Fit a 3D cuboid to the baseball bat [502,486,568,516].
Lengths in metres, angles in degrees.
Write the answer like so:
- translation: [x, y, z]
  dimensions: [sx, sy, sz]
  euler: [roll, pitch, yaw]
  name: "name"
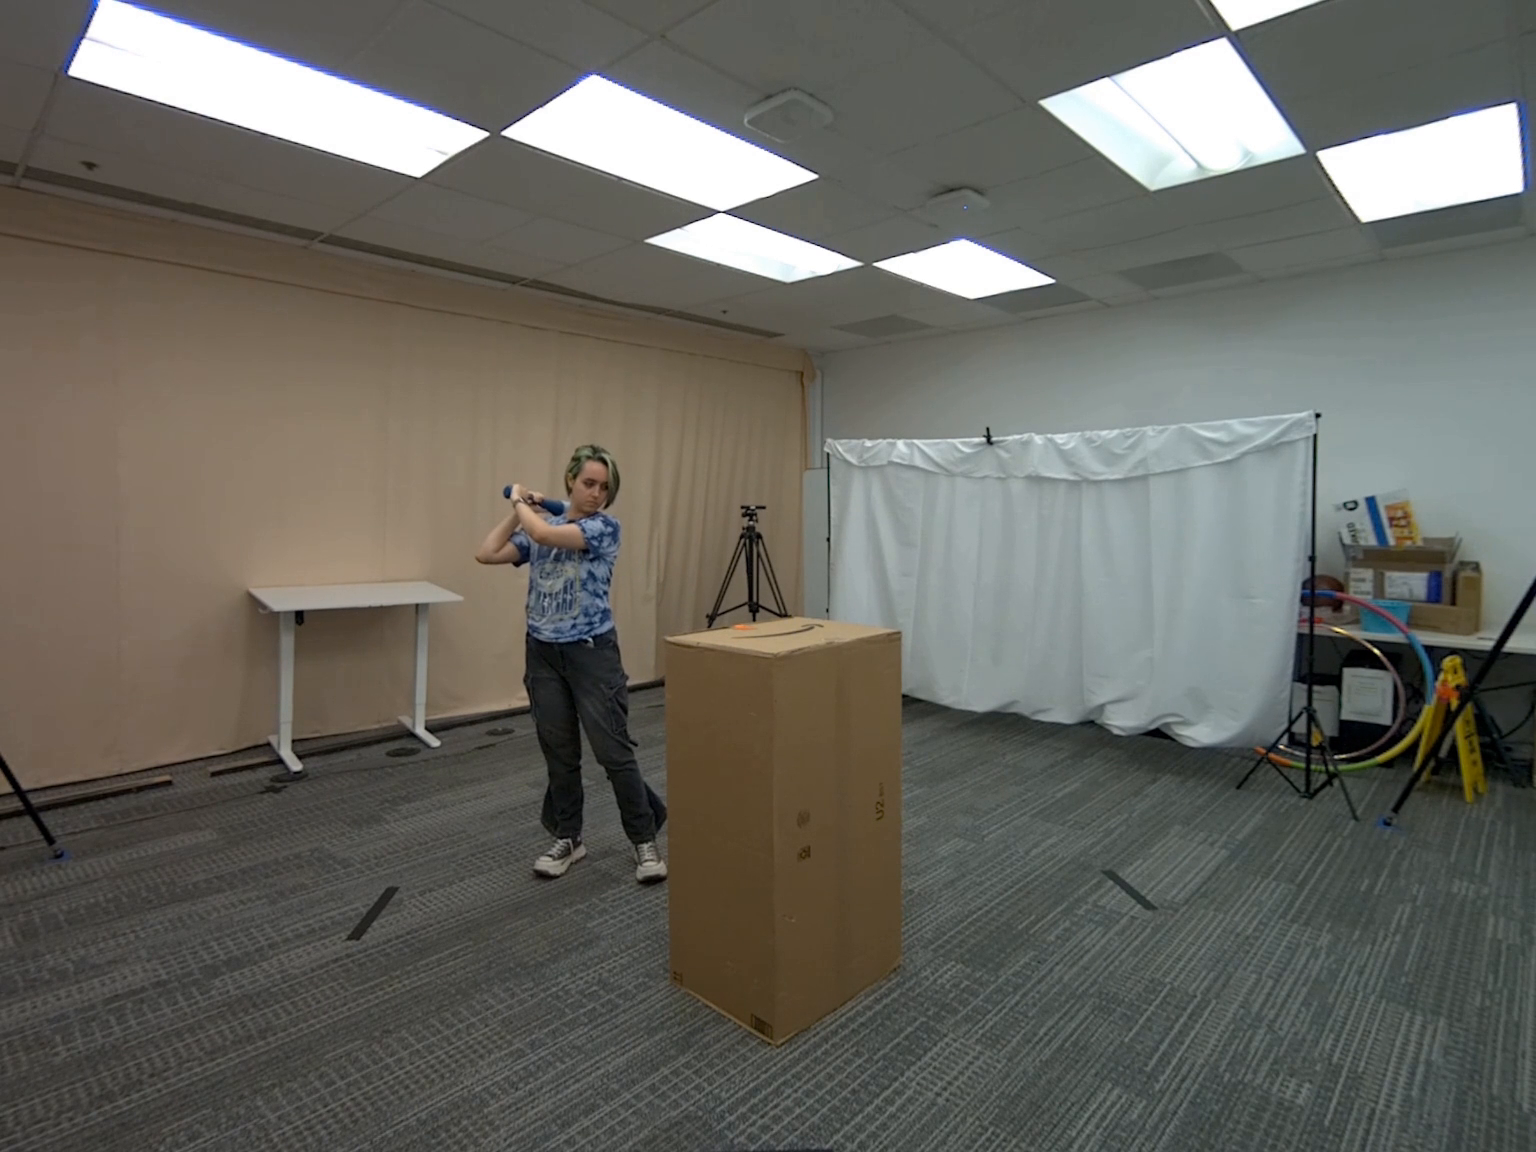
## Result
- translation: [-0.868, -0.281, 3.394]
  dimensions: [0.091, 0.089, 0.526]
  euler: [2, -9, 26]
  name: "baseball bat"
